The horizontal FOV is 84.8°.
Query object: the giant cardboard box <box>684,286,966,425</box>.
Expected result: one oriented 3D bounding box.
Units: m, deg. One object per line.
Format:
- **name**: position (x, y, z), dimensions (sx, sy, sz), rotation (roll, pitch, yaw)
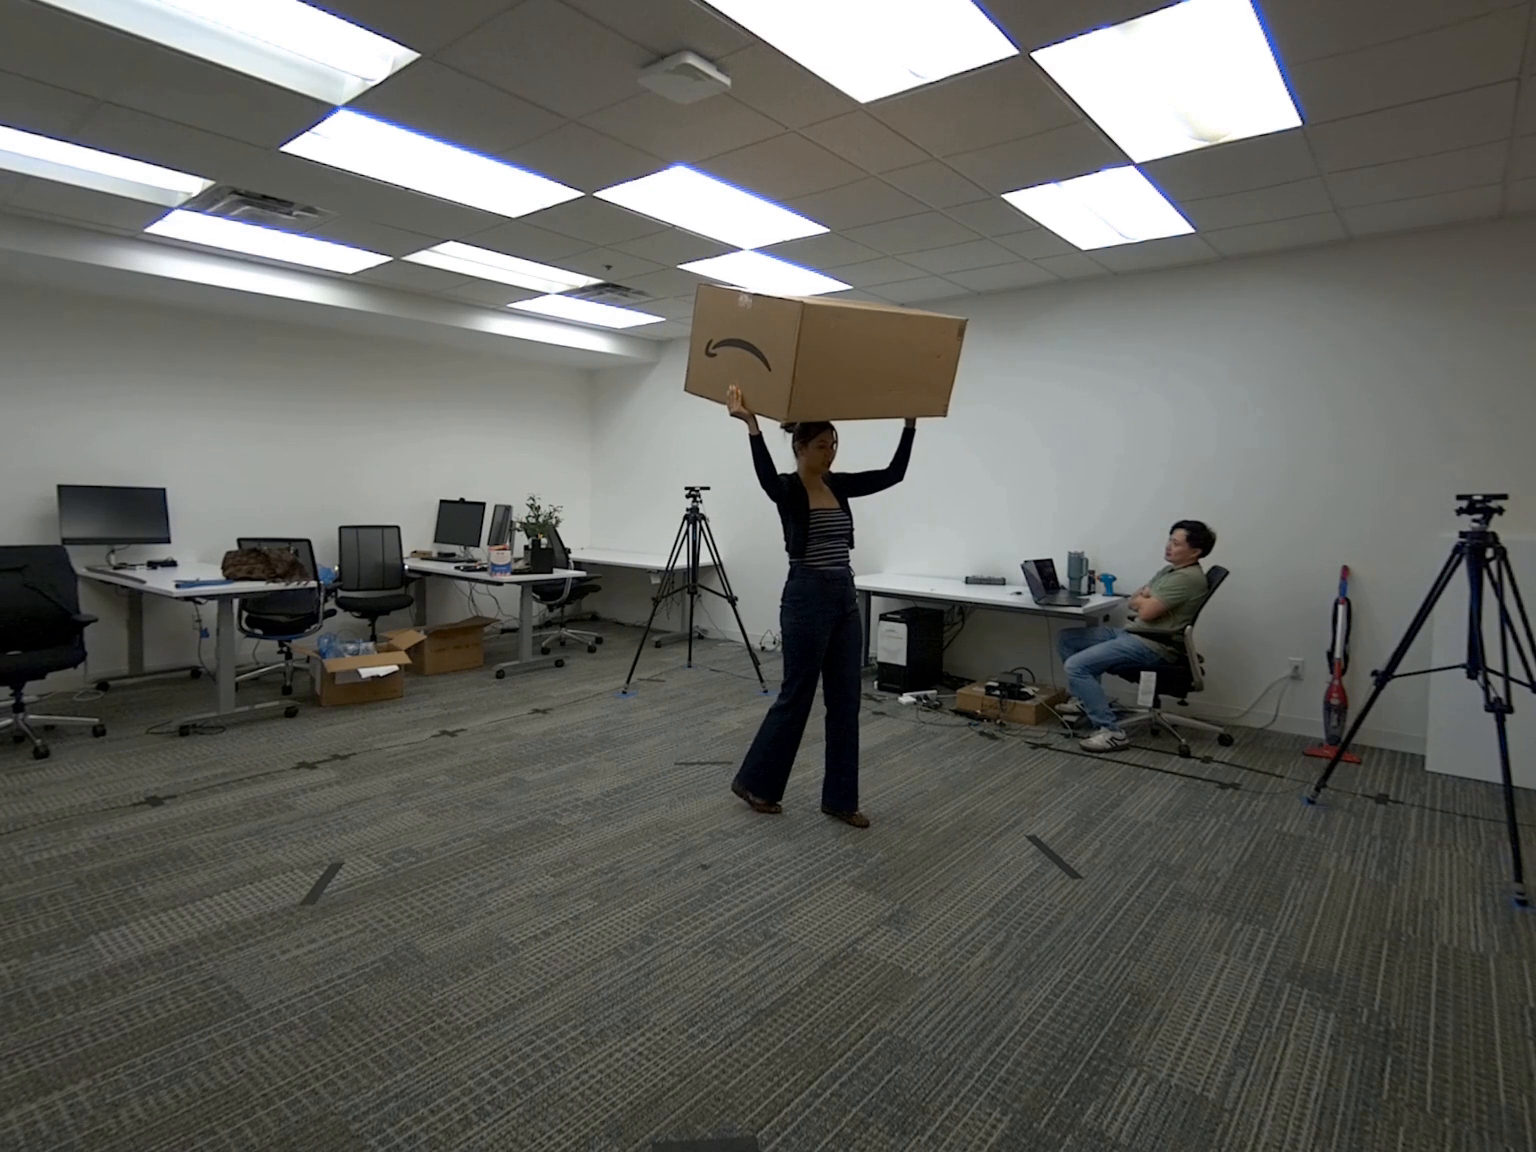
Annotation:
- **giant cardboard box**: position (0.233, -0.902, 3.477), dimensions (0.999, 0.420, 0.601), rotation (-11, 27, -43)
